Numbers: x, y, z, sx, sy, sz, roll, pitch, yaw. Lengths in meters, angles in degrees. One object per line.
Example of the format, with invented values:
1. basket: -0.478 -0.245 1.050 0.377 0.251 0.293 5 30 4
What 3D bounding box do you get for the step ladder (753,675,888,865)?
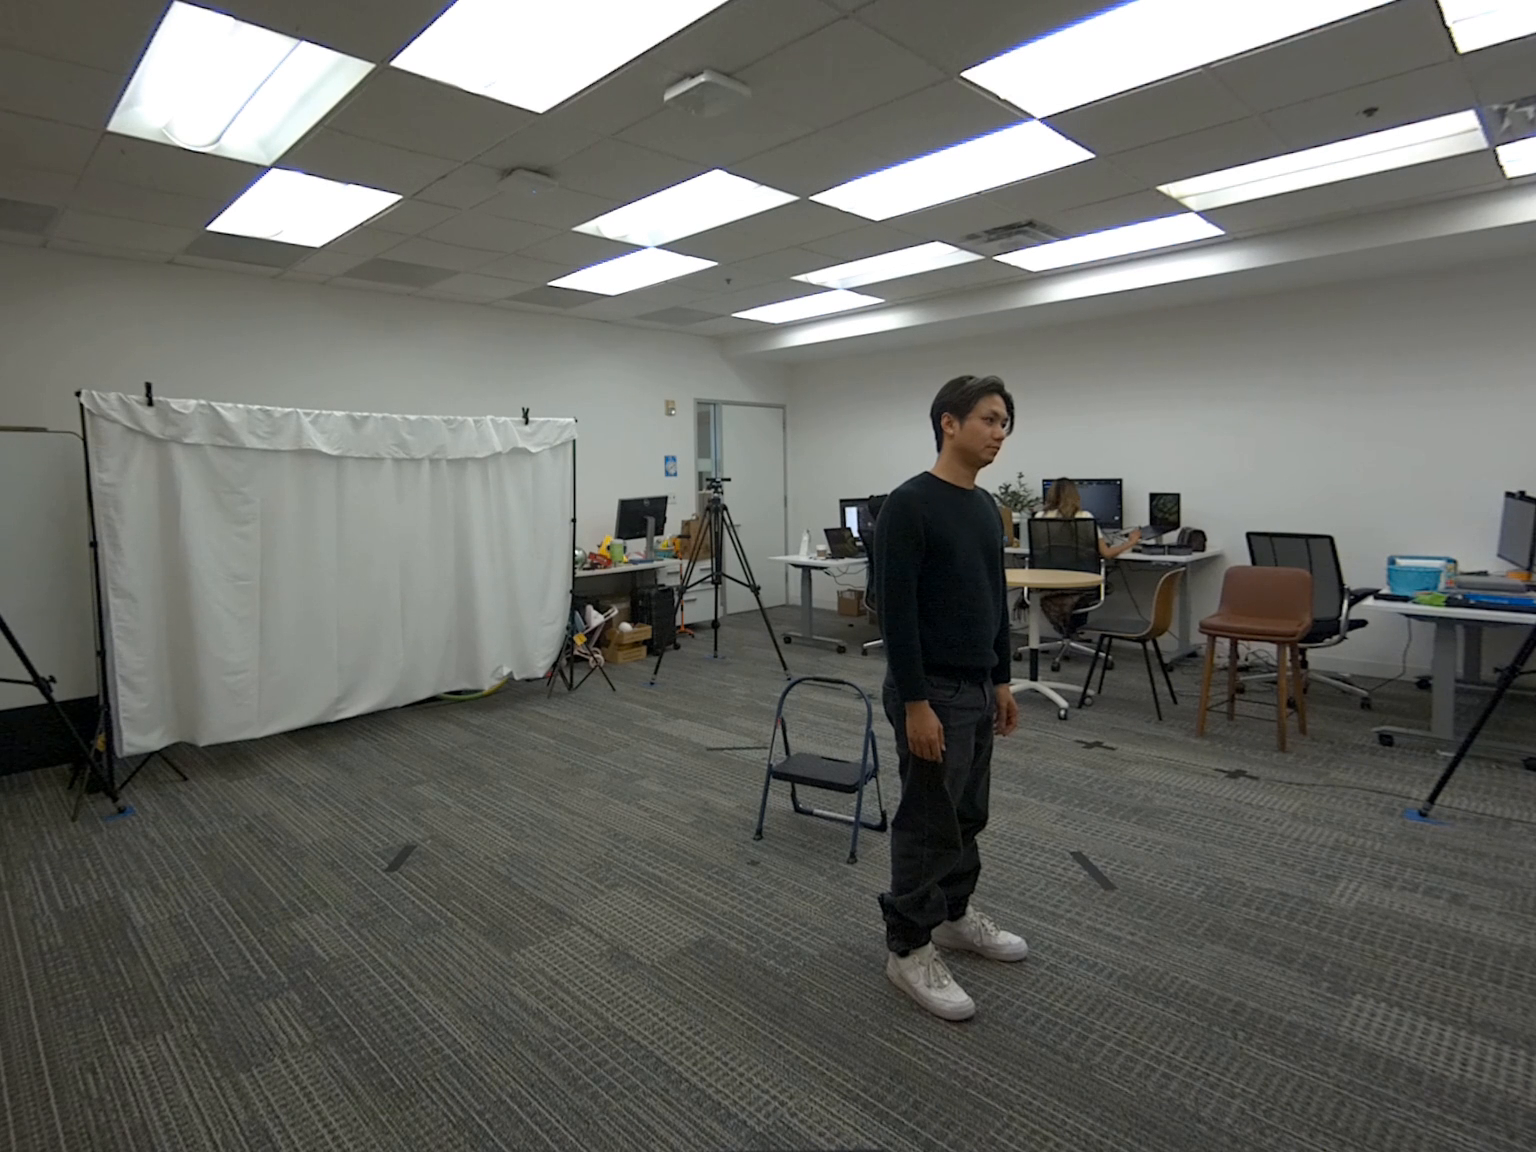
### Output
1. step ladder: 0.208 0.709 3.319 0.442 0.603 0.341 2 5 32
